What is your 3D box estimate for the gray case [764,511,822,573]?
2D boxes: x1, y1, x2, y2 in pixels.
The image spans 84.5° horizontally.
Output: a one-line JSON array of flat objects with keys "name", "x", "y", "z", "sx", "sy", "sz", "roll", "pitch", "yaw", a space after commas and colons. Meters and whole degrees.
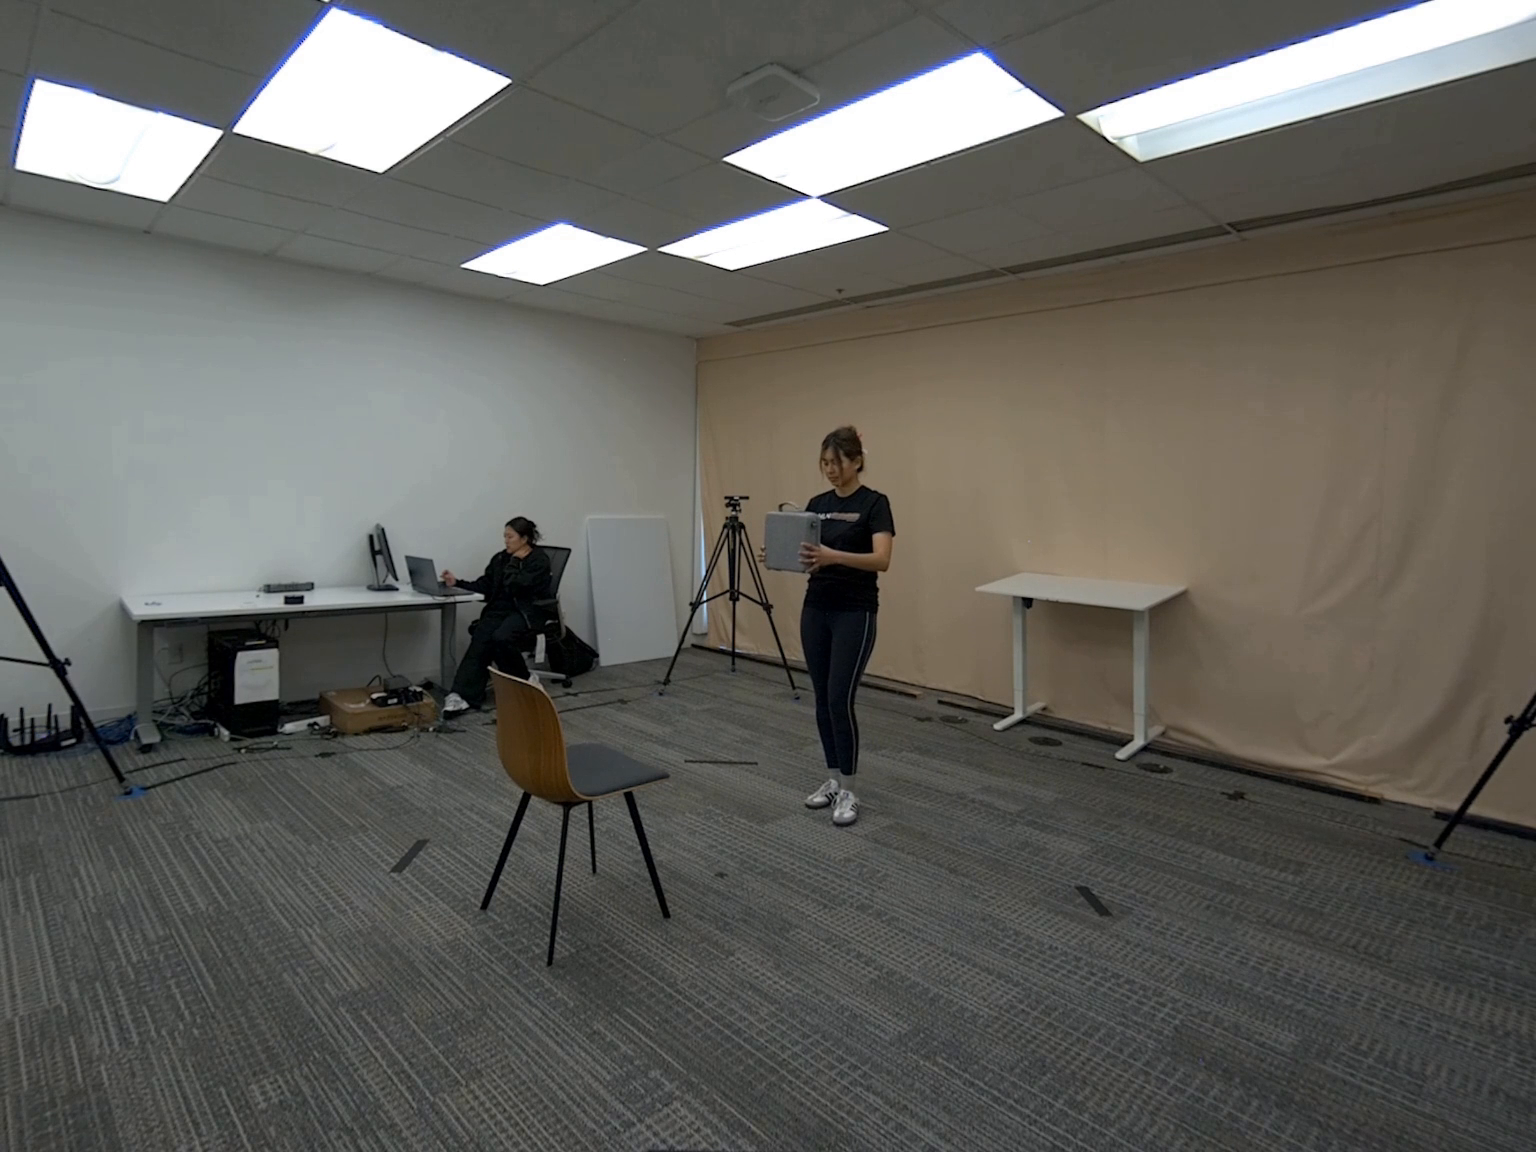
[{"name": "gray case", "x": 0.100, "y": -0.151, "z": 3.577, "sx": 0.263, "sy": 0.260, "sz": 0.102, "roll": 6, "pitch": 7, "yaw": 43}]
